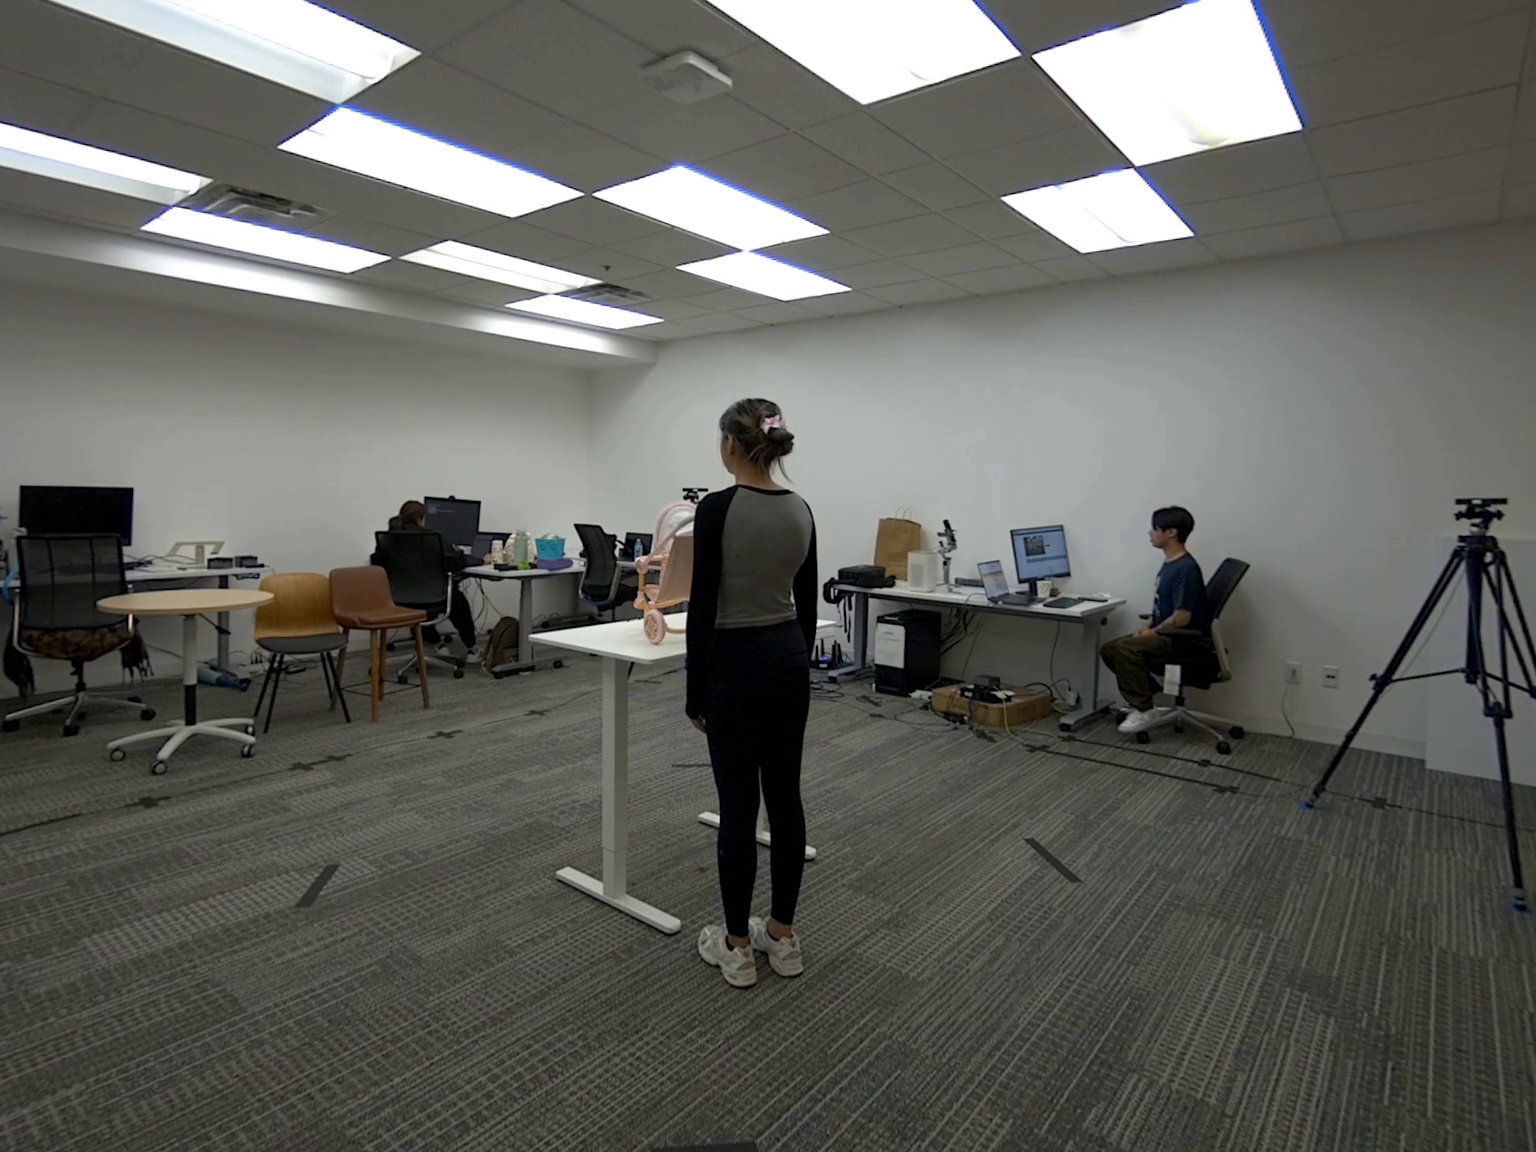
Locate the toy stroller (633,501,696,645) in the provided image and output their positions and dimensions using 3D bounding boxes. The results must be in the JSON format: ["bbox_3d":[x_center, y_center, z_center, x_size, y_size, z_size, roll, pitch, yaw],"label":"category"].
[{"bbox_3d":[-0.312,-0.017,2.877,0.274,0.528,0.355,-2,20,-32],"label":"toy stroller"}]
